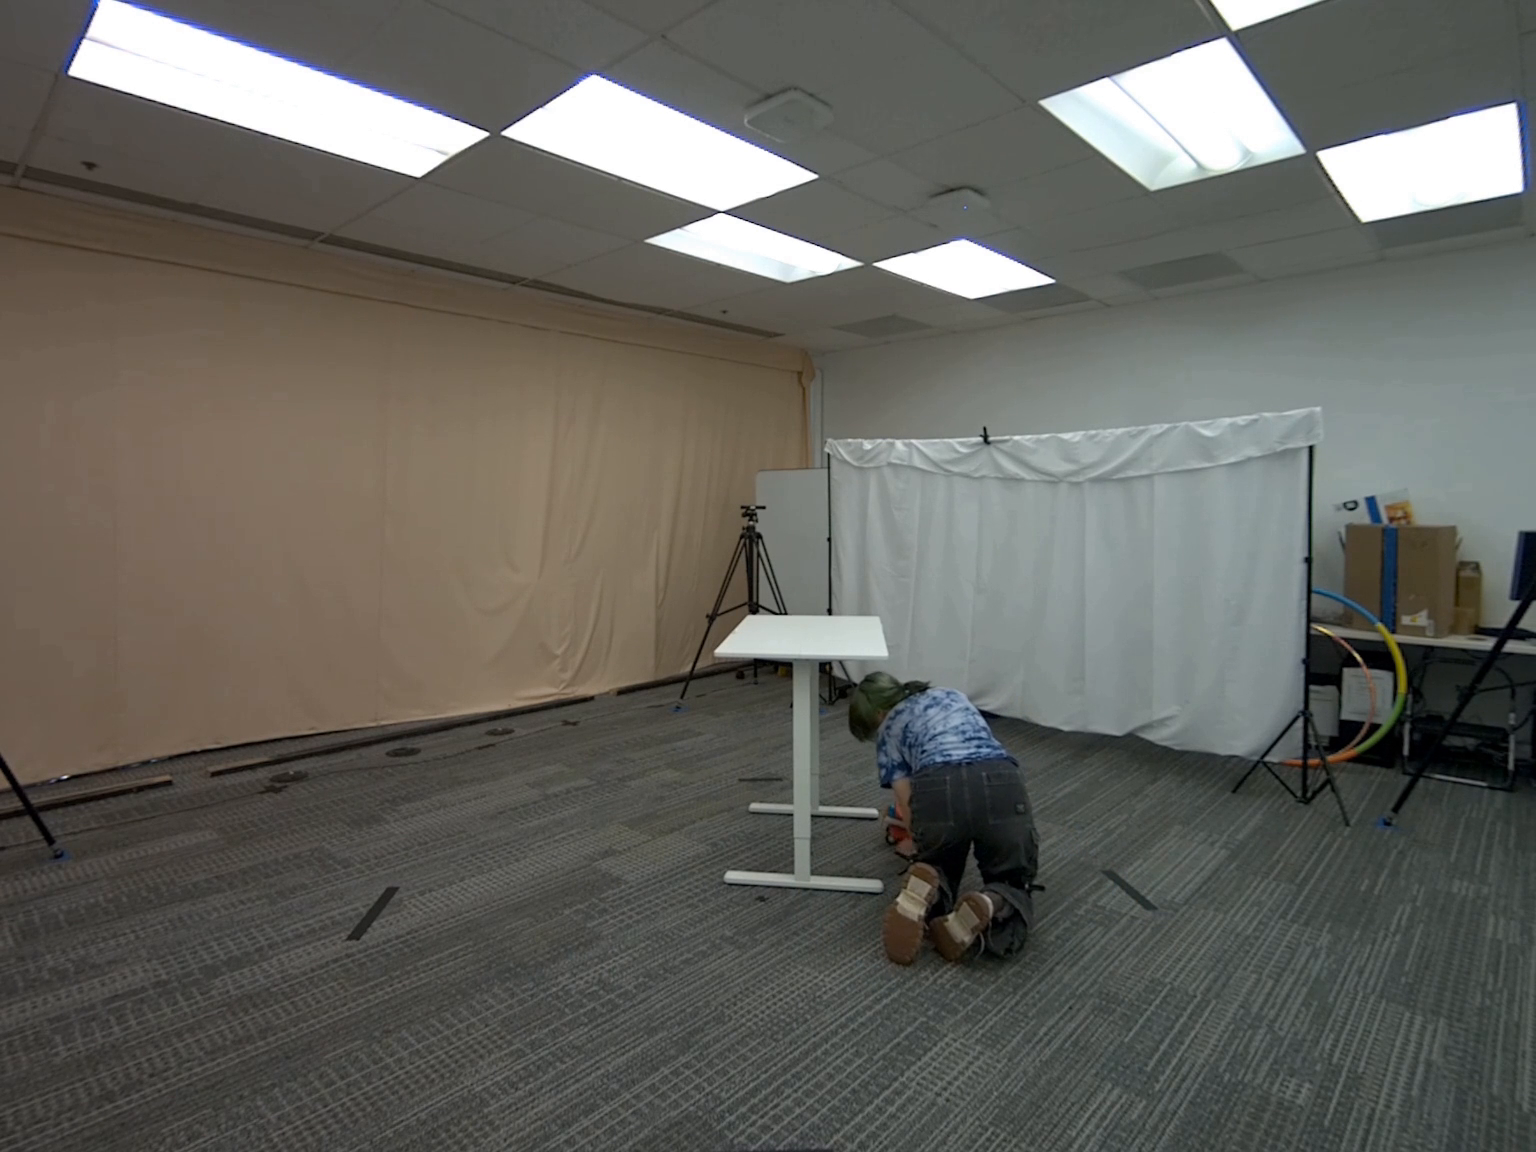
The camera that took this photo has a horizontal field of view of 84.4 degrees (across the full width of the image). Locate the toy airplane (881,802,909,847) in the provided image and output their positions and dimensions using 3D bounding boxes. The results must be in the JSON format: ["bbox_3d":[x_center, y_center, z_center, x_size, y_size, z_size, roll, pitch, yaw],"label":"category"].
[{"bbox_3d":[0.610,1.029,3.501,0.255,0.156,0.255,-1,3,-15],"label":"toy airplane"}]
